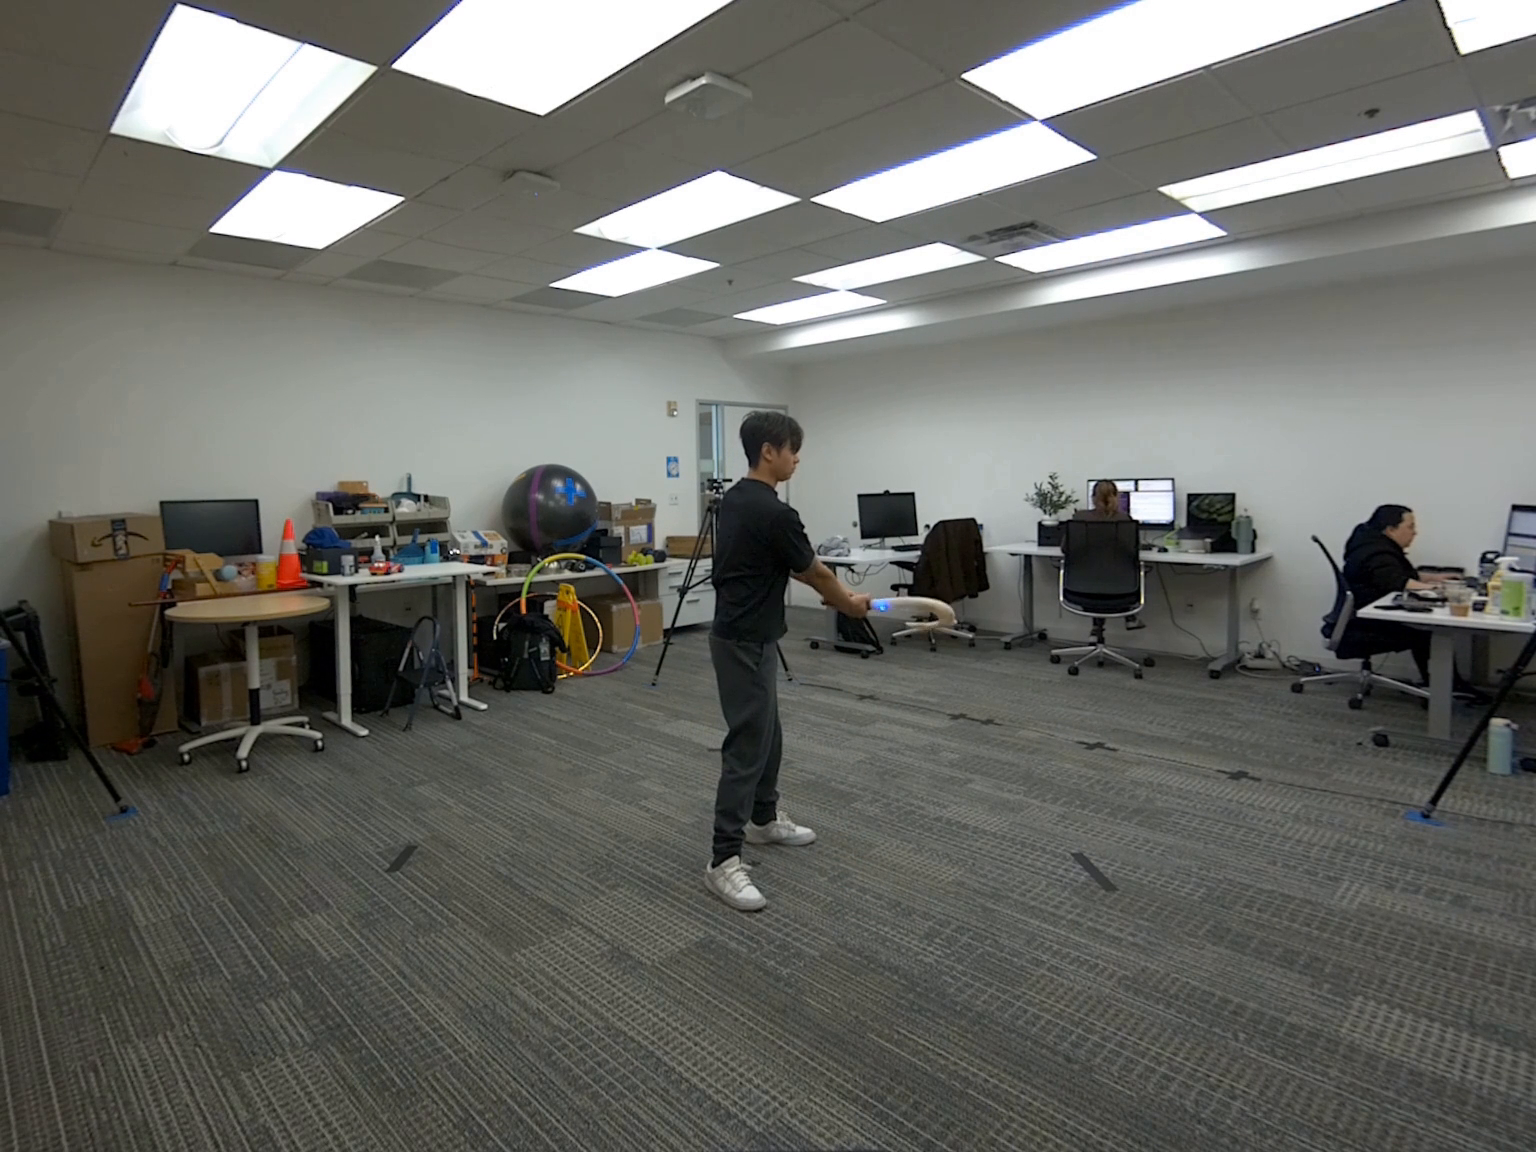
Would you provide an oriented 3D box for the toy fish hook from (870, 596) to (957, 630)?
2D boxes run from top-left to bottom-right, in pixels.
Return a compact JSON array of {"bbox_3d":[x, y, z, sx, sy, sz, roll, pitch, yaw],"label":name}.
[{"bbox_3d":[0.435,0.127,3.253,0.518,0.049,0.216,4,-35,23],"label":"toy fish hook"}]
